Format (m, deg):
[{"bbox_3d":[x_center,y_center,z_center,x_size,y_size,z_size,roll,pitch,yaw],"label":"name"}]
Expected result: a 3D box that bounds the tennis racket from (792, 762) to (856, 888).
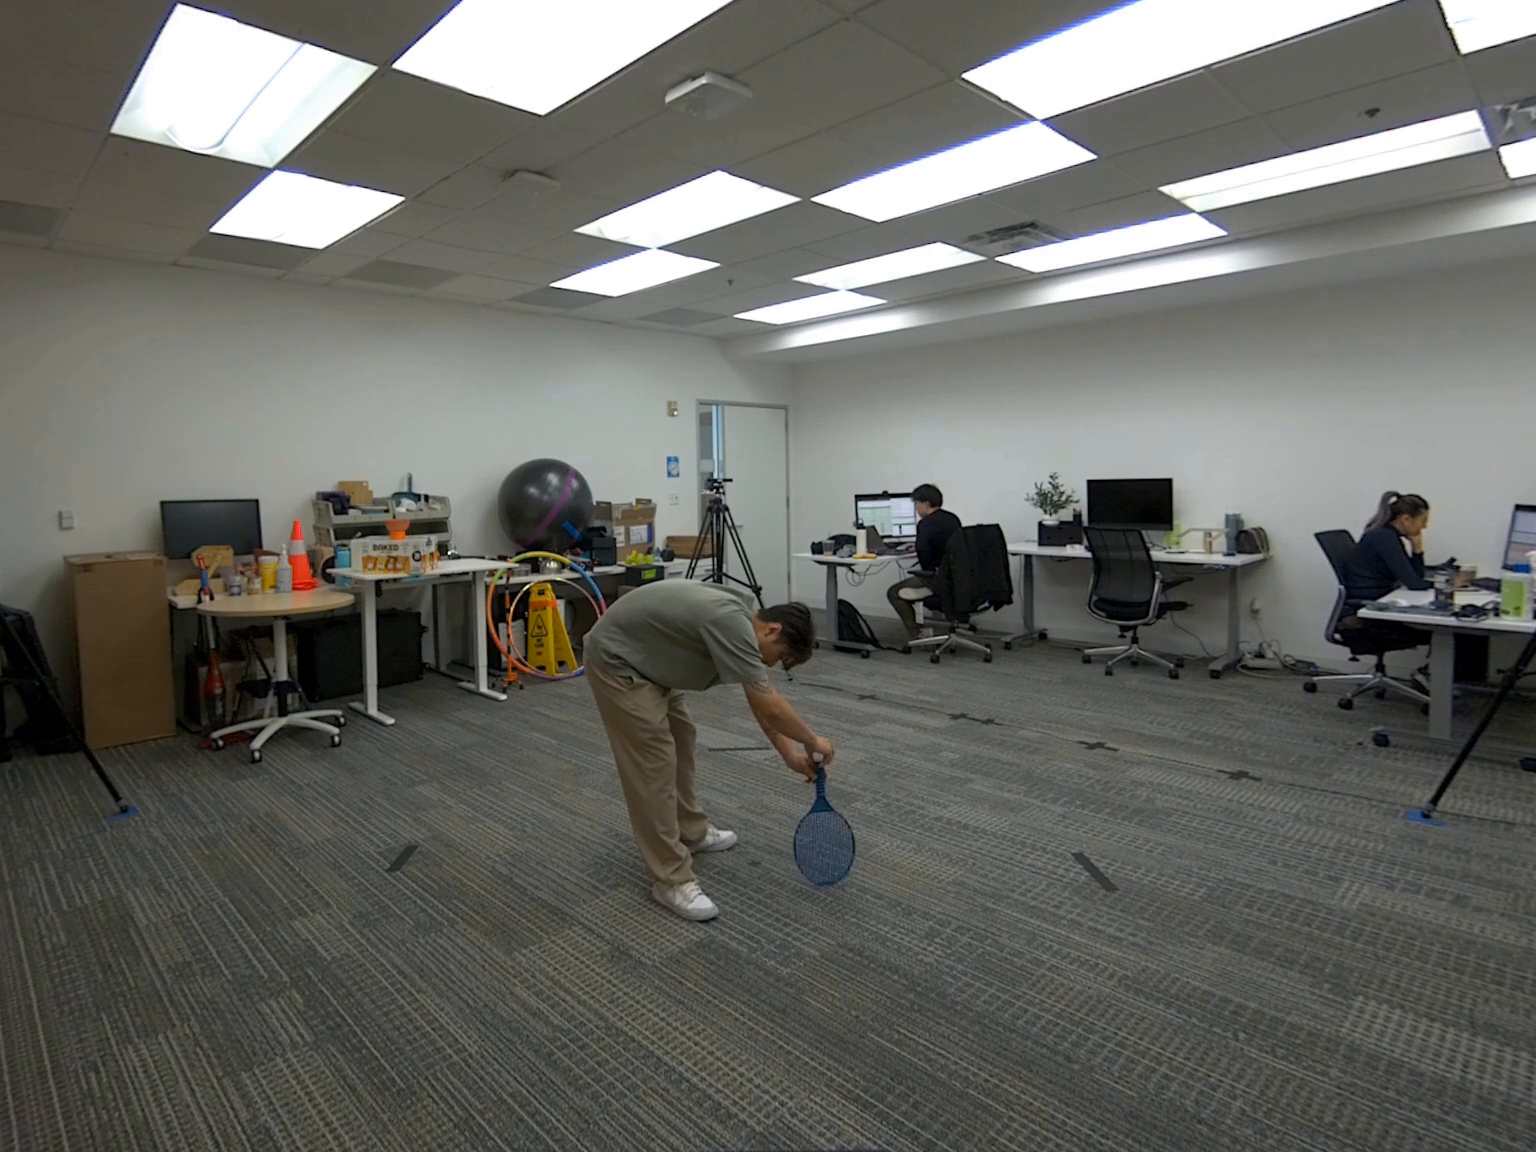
[{"bbox_3d":[0.184,0.848,2.921,0.213,0.432,0.032,-7,2,-2],"label":"tennis racket"}]
